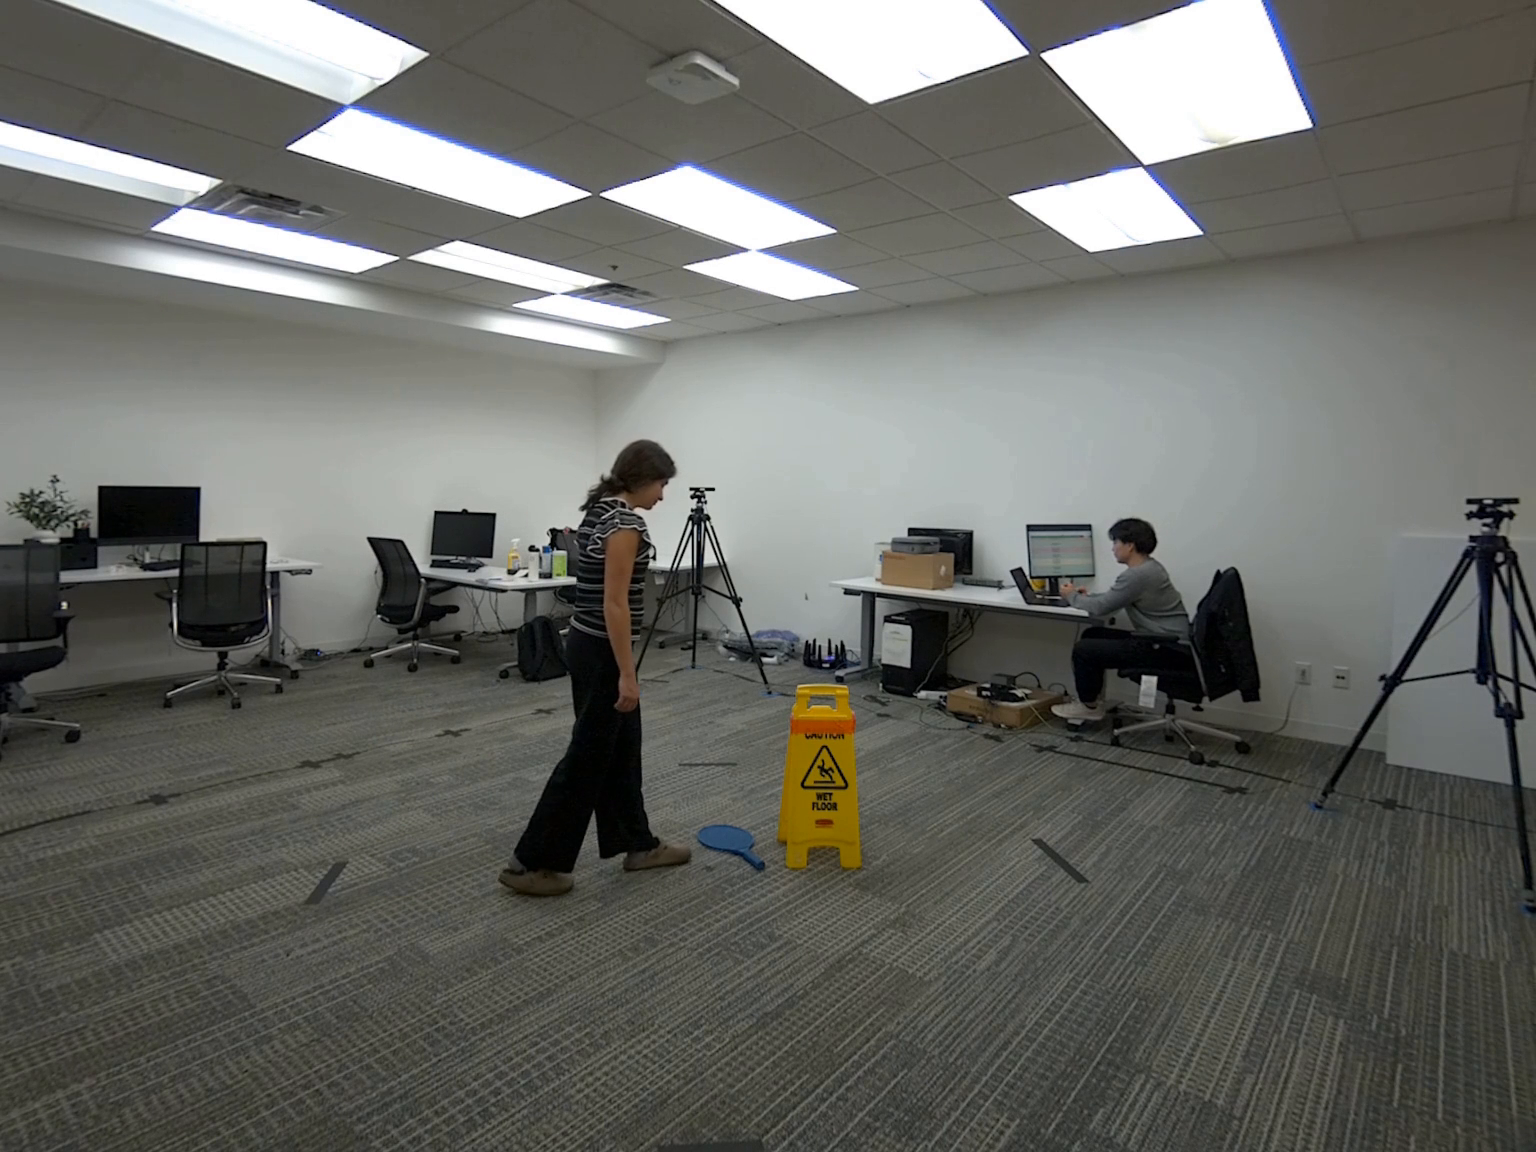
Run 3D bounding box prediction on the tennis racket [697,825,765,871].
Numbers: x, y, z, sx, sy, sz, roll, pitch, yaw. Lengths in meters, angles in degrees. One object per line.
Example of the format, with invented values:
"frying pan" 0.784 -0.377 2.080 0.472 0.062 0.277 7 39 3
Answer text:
"tennis racket" -0.139 1.031 3.293 0.208 0.031 0.445 -2 5 -27
